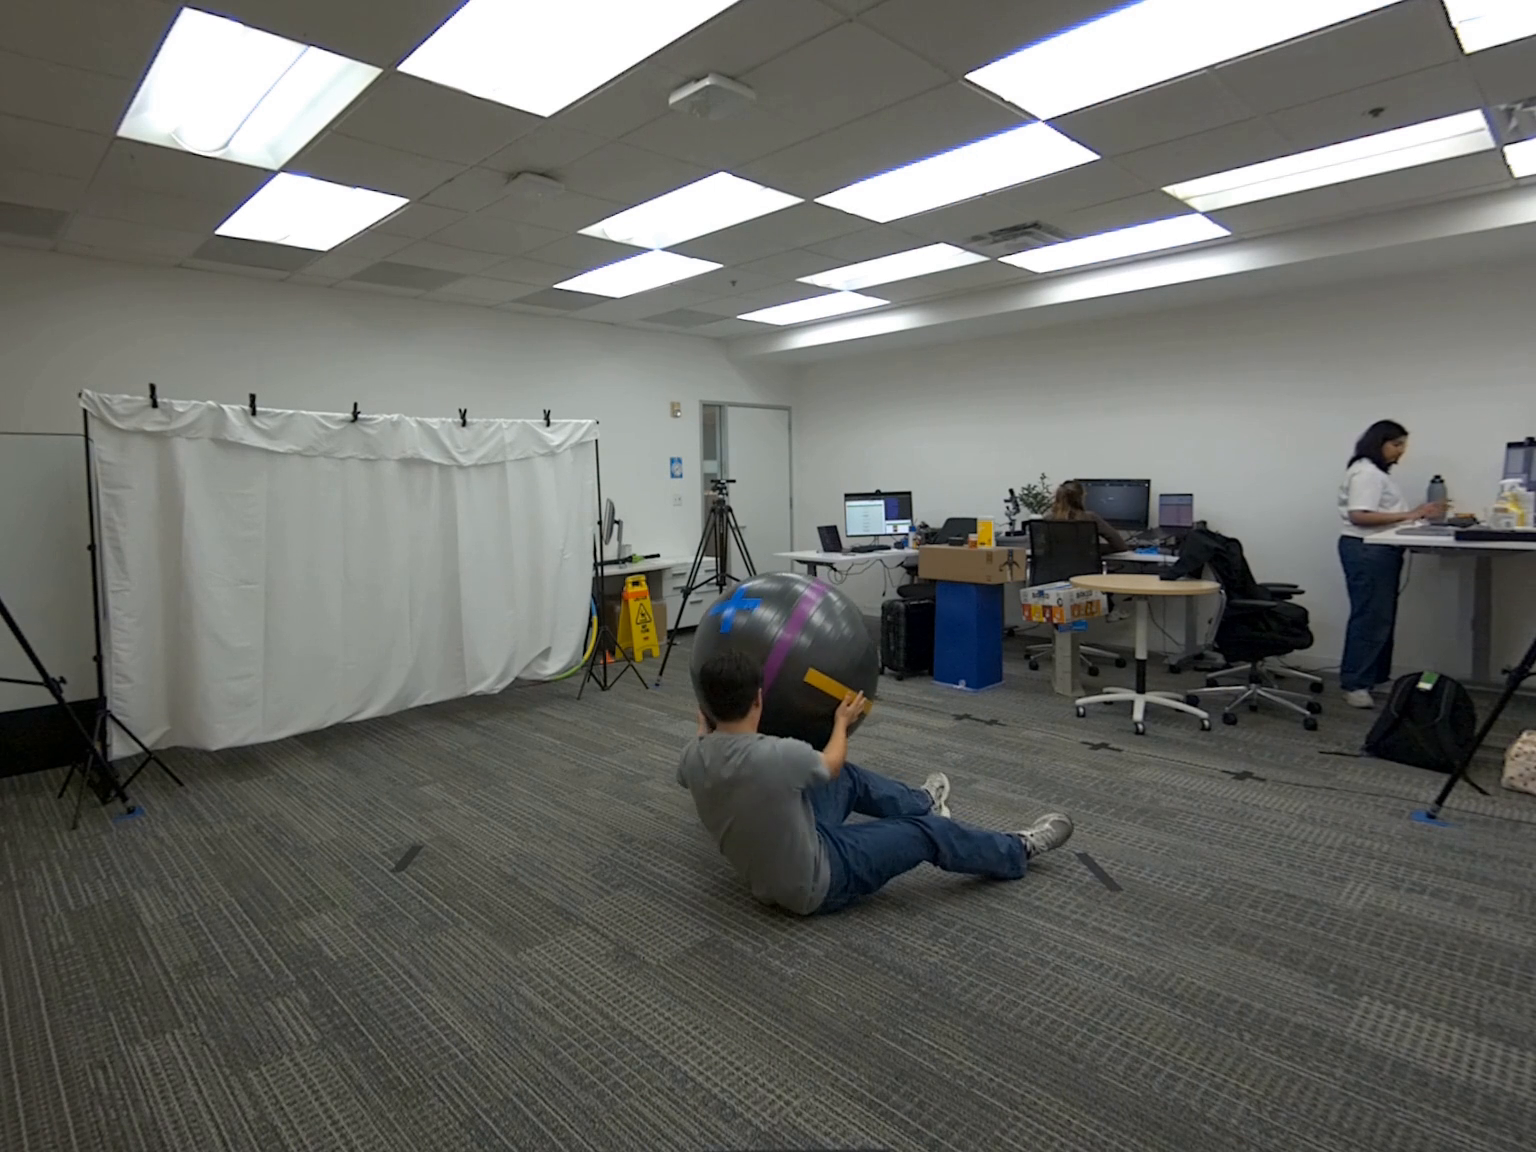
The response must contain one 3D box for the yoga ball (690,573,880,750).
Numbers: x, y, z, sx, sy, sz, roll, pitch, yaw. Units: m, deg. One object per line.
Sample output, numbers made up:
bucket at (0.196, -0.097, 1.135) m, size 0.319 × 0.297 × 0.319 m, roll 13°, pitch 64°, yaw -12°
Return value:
yoga ball at (0.058, 0.365, 3.436) m, size 0.757 × 0.755 × 0.762 m, roll -1°, pitch 5°, yaw -2°
